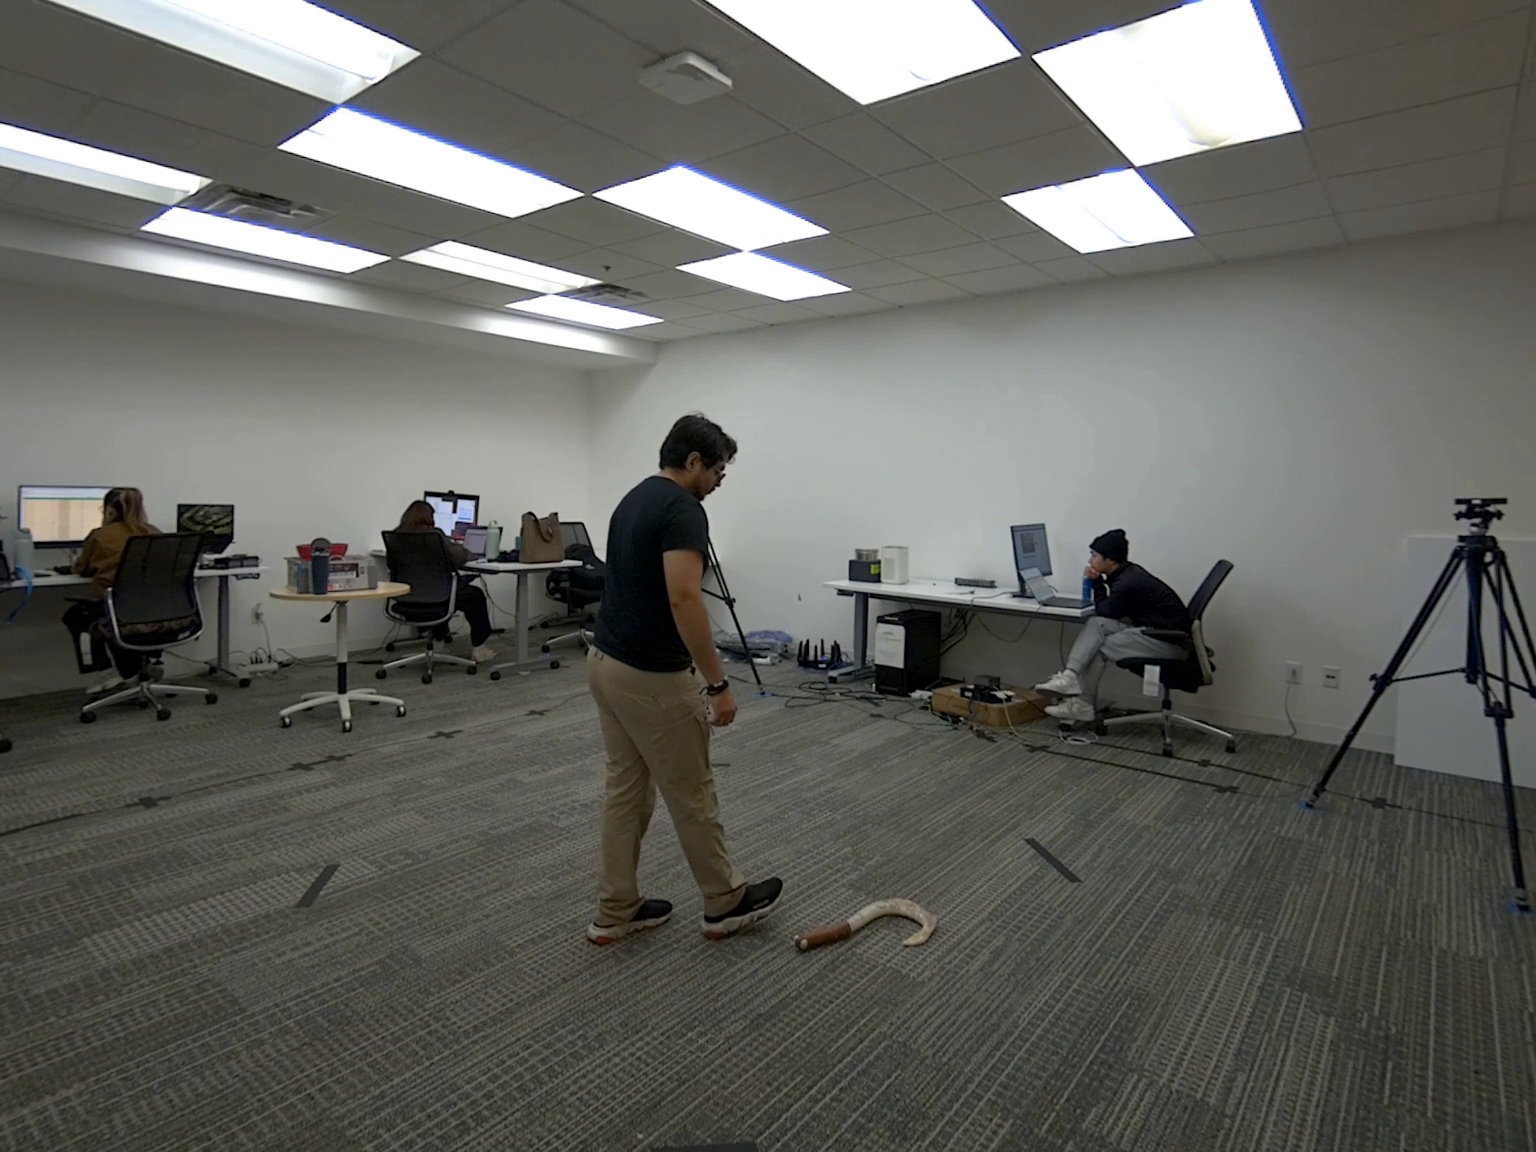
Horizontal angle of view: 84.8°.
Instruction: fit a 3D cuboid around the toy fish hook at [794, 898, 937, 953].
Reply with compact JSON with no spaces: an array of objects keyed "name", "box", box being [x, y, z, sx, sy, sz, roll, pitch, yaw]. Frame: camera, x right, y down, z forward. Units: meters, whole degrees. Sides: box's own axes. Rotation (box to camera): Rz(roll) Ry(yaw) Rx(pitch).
[{"name":"toy fish hook","box":[0.313,1.109,2.656,0.492,0.048,0.232,-3,7,-34]}]
